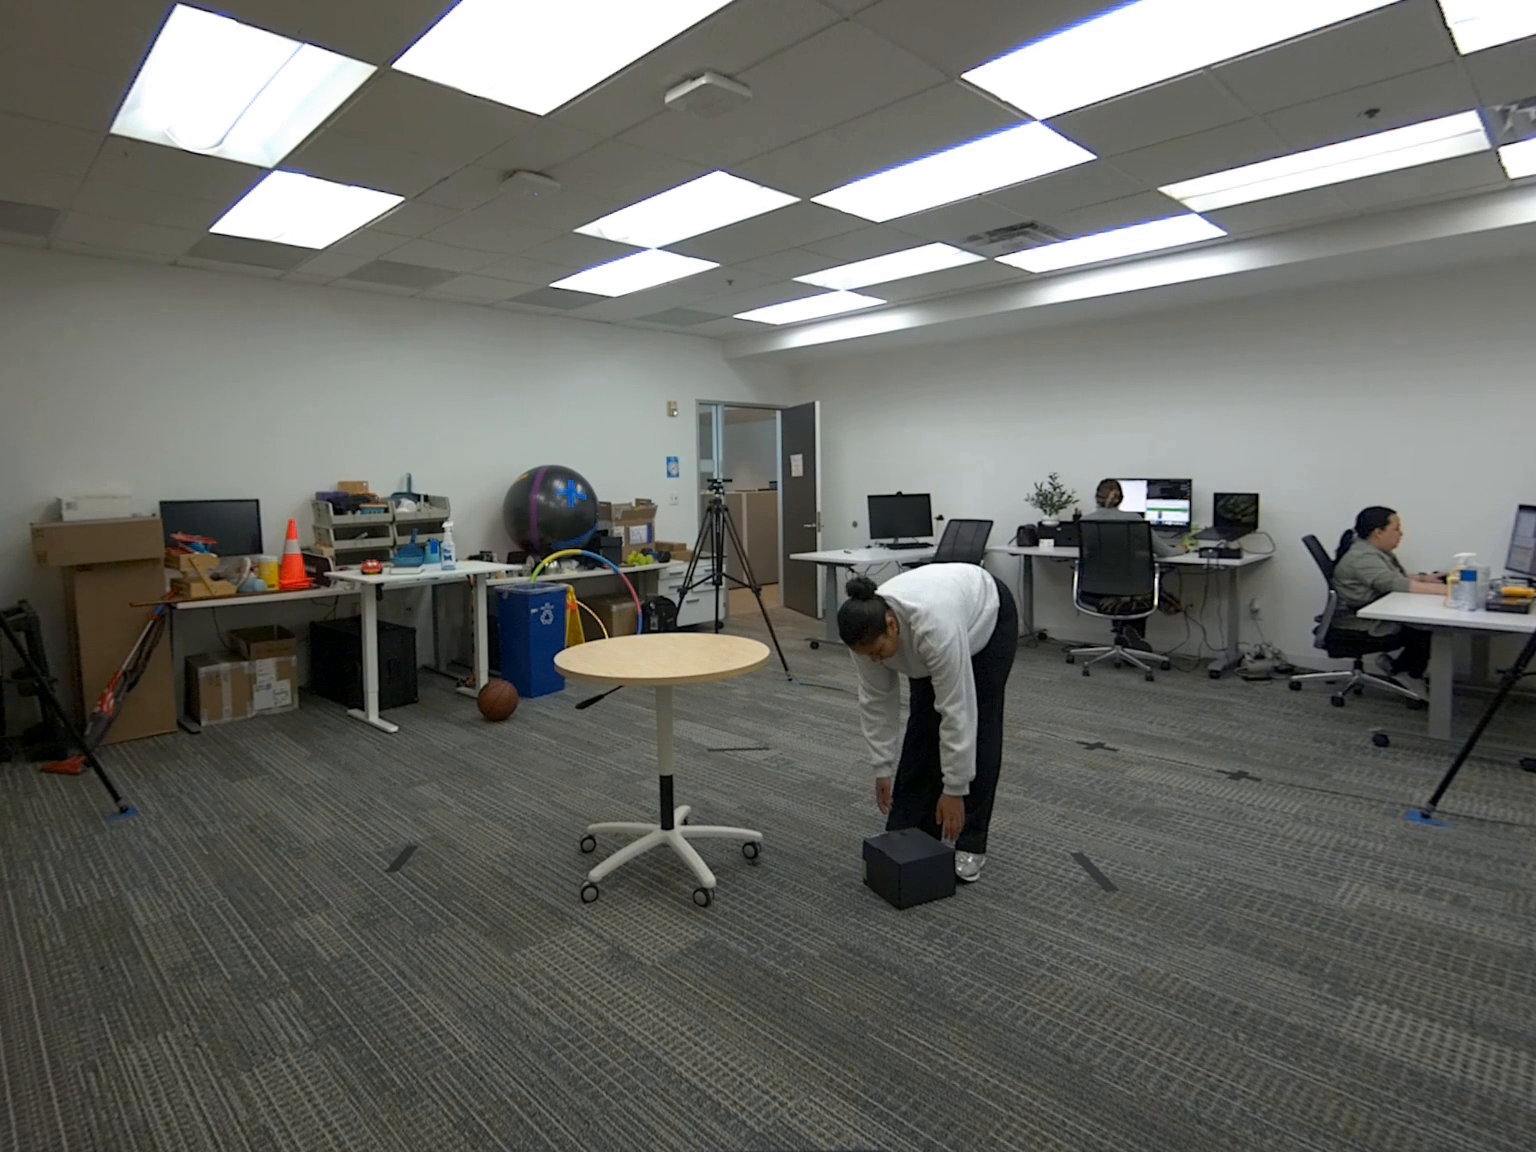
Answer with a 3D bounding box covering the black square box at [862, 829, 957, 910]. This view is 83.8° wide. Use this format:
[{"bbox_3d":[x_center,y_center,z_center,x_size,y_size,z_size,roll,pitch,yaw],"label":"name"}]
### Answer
[{"bbox_3d":[0.474,0.977,2.885,0.223,0.155,0.222,-4,6,-26],"label":"black square box"}]
